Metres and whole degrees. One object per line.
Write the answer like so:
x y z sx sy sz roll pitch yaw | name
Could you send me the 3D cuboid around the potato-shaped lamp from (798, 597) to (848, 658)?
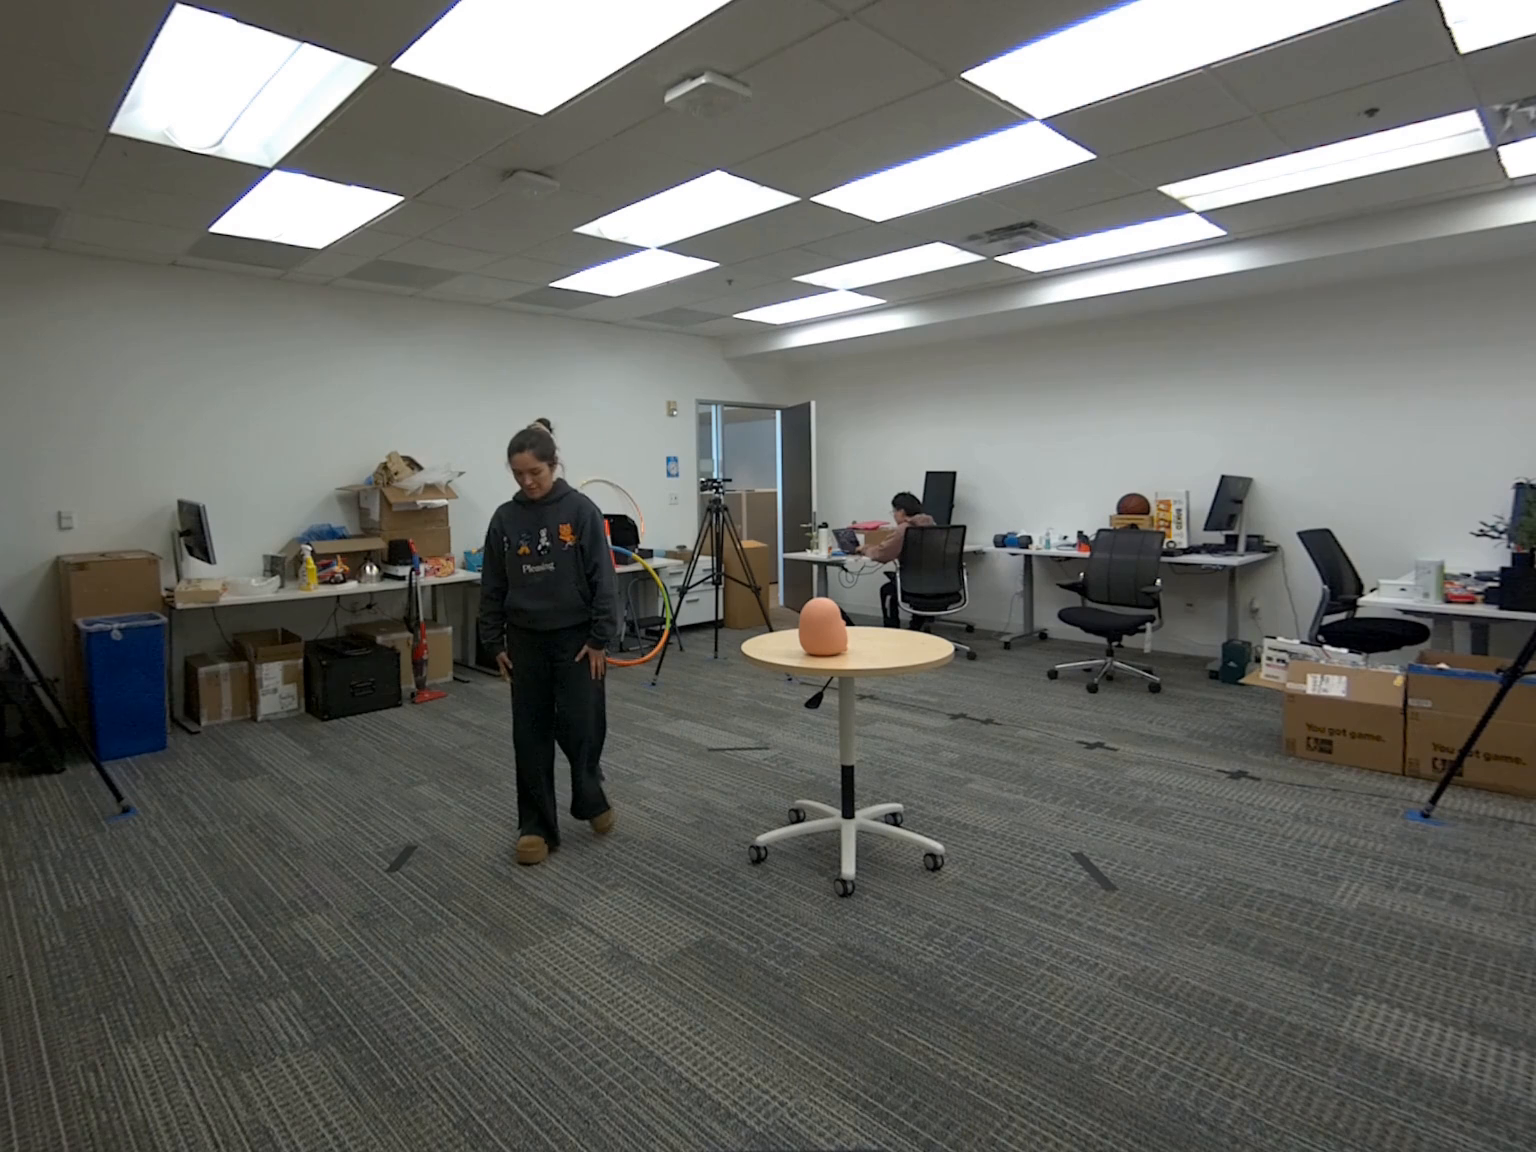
0.194 0.175 2.968 0.167 0.197 0.170 -8 7 -44 | potato-shaped lamp
